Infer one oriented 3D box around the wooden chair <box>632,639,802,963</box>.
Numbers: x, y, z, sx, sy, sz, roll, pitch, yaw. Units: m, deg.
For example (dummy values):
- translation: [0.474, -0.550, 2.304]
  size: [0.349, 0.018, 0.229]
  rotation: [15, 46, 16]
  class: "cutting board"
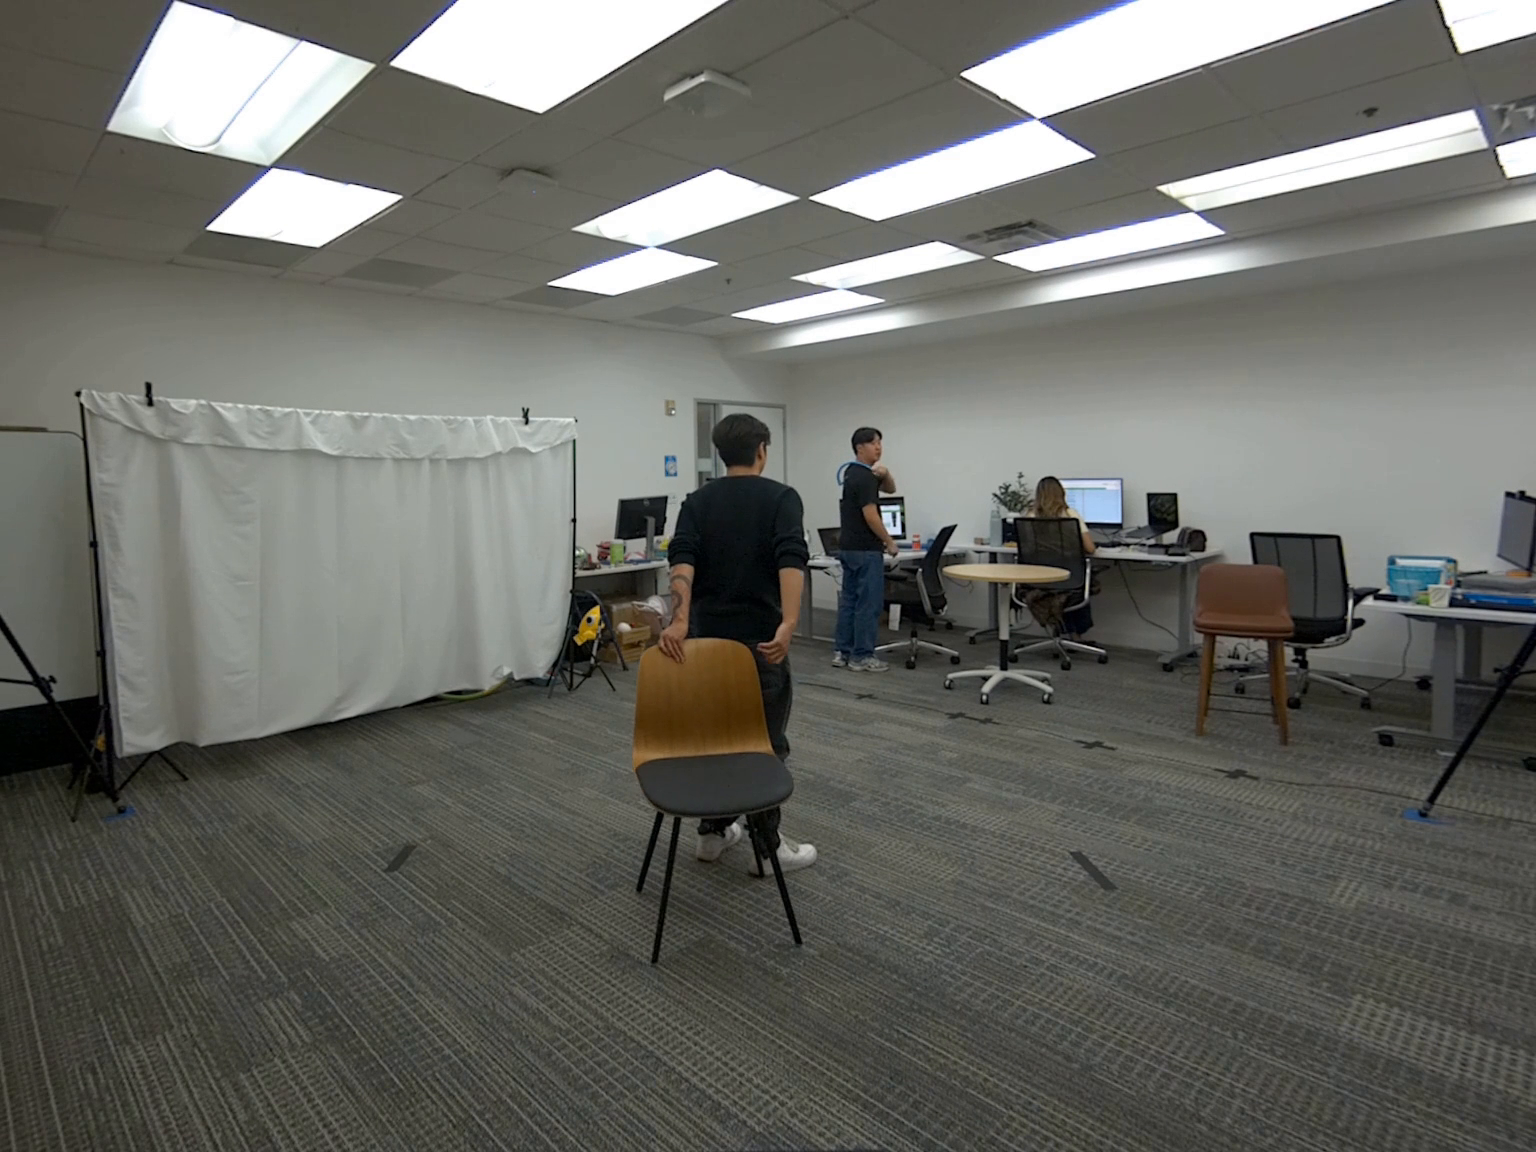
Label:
- translation: [-0.177, 0.668, 2.685]
  size: [0.472, 0.877, 0.530]
  rotation: [-1, 0, -14]
  class: "wooden chair"
